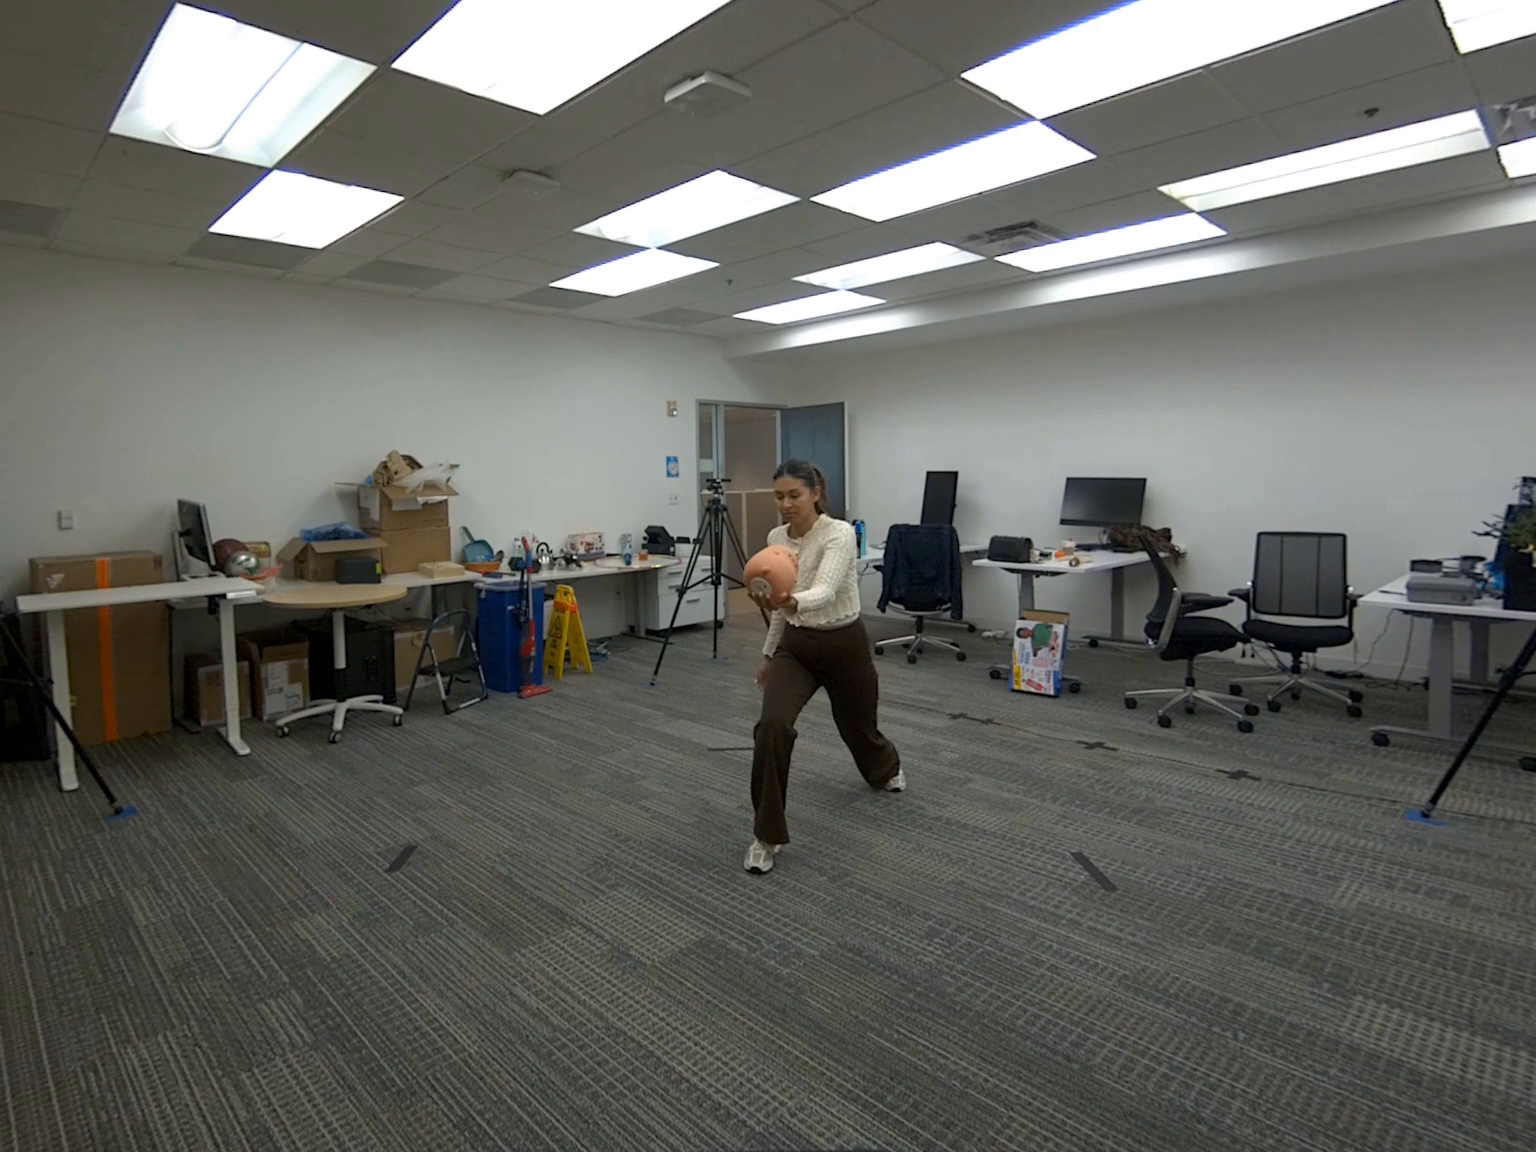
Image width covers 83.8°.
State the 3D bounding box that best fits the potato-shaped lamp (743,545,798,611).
[{"bbox_3d":[0.027,-0.010,2.750,0.175,0.162,0.198,-18,21,44],"label":"potato-shaped lamp"}]
